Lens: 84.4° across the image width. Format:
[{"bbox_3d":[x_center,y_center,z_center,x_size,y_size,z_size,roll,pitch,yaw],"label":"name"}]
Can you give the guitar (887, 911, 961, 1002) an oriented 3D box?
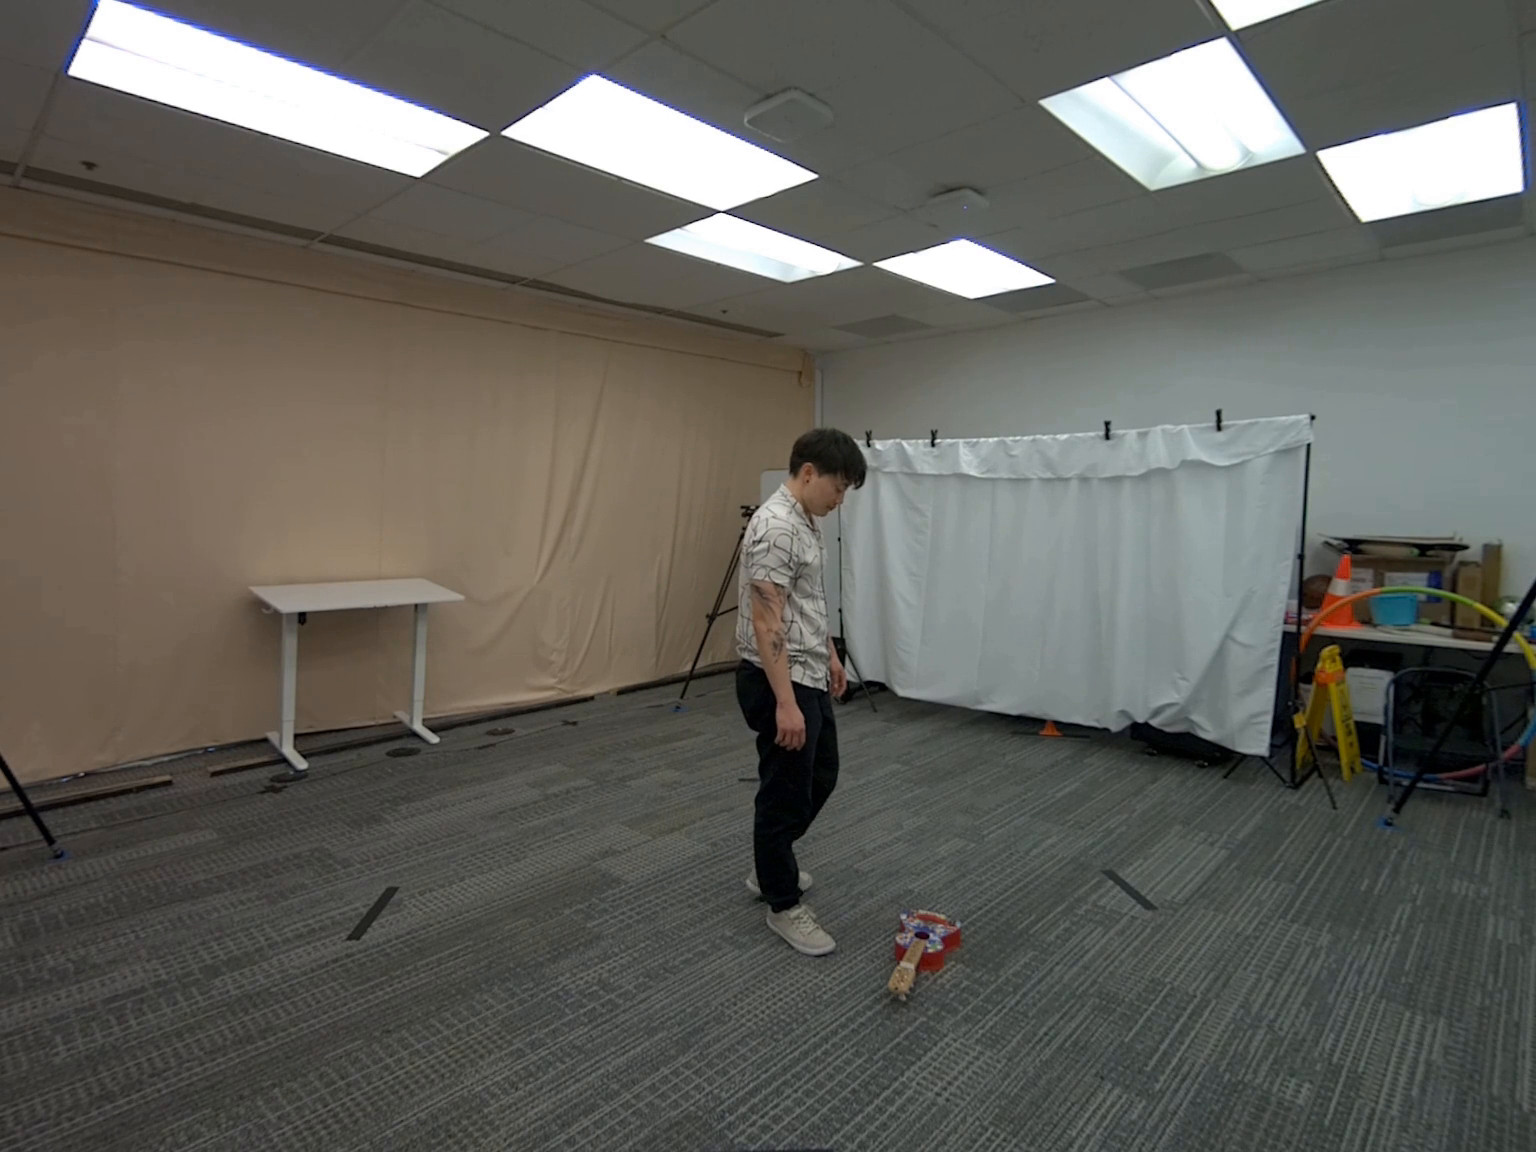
[{"bbox_3d":[0.430,1.145,2.550,0.199,0.070,0.484,3,6,32],"label":"guitar"}]
